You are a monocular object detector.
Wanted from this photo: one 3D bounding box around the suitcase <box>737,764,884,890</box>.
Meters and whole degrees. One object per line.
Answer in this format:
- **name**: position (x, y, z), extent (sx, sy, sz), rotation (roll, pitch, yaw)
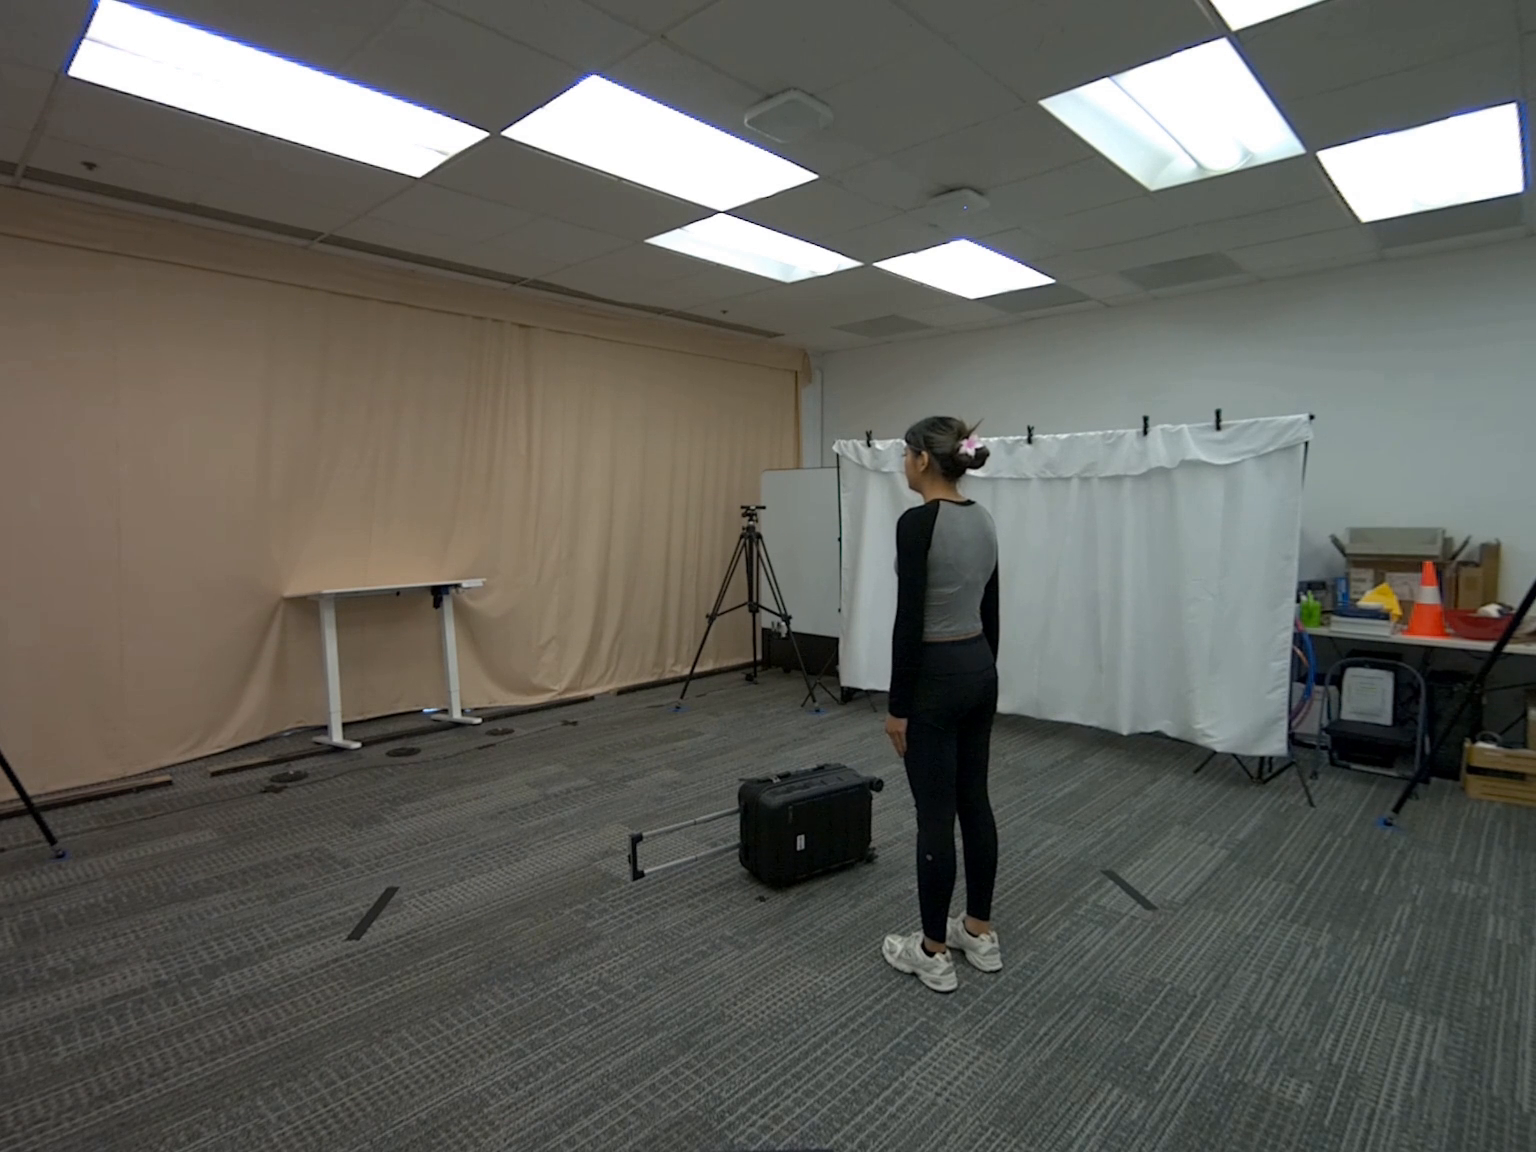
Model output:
- **suitcase**: position (-0.012, 0.945, 3.089), extent (0.950, 0.383, 0.265), rotation (-3, 4, -35)
